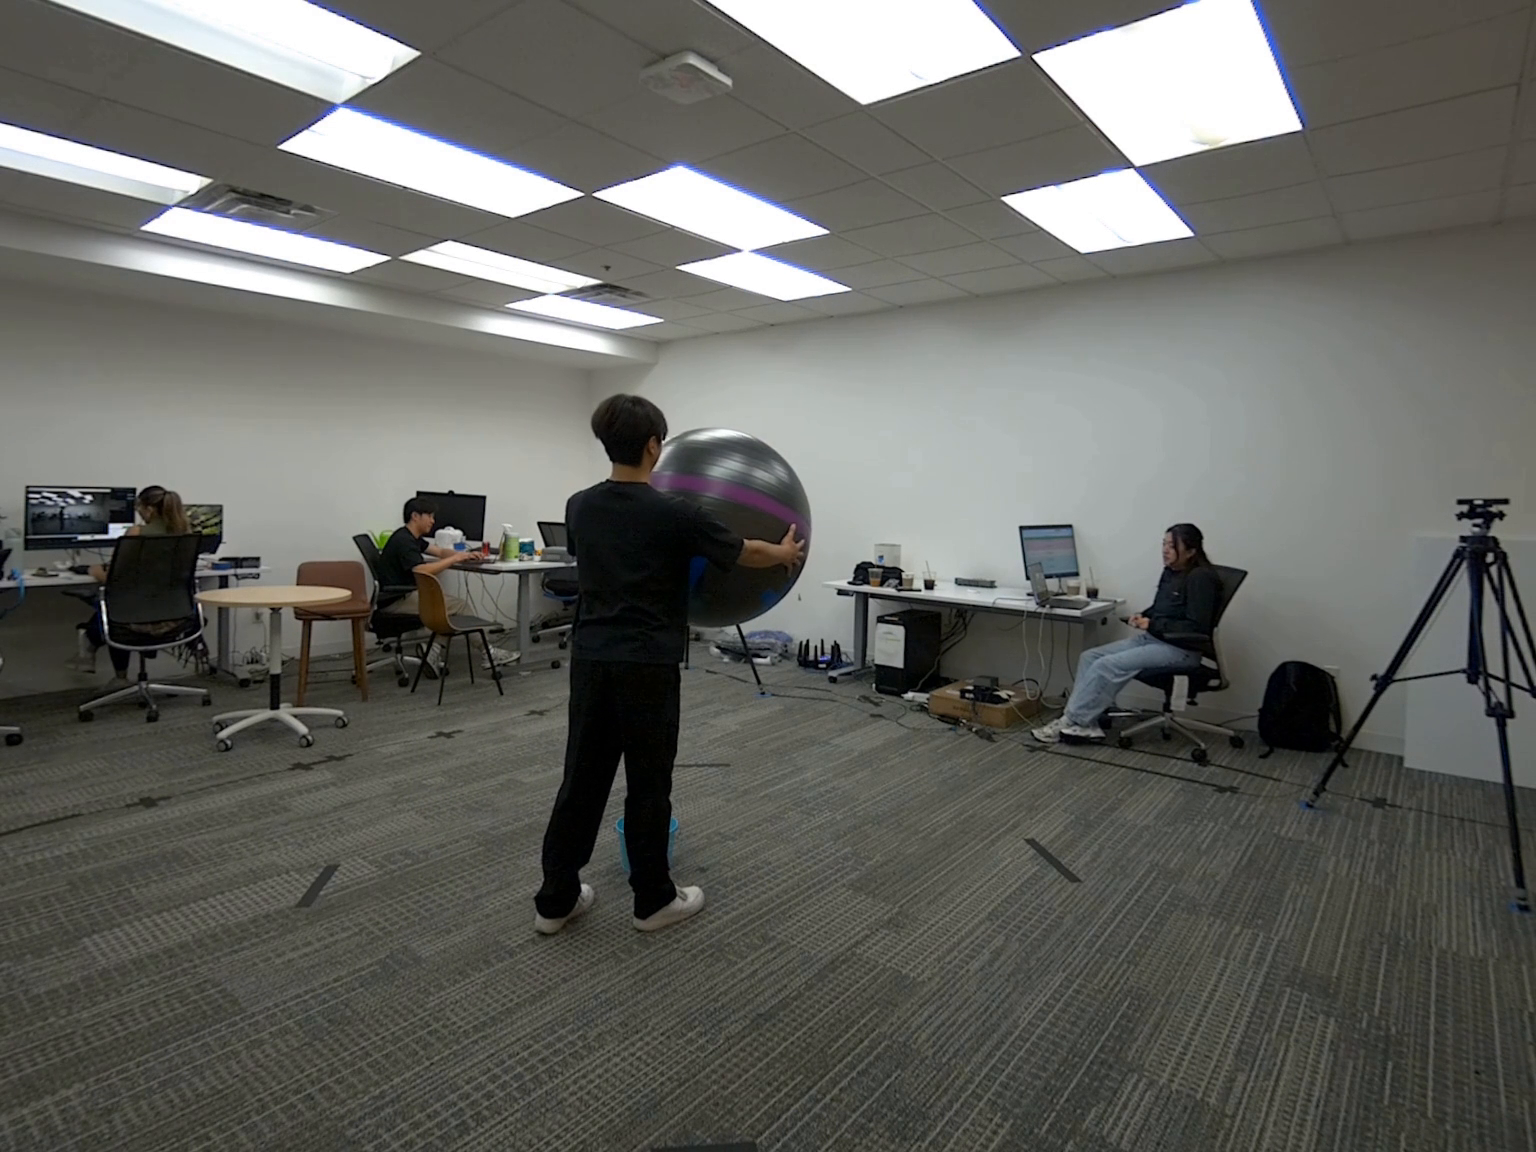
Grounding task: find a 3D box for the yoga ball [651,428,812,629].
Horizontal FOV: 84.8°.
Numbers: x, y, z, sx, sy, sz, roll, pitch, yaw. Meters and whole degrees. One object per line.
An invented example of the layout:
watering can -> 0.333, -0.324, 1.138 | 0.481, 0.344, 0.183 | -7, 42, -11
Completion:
yoga ball -> -0.218, -0.179, 3.262 | 0.757, 0.756, 0.761 | 1, 4, -2
